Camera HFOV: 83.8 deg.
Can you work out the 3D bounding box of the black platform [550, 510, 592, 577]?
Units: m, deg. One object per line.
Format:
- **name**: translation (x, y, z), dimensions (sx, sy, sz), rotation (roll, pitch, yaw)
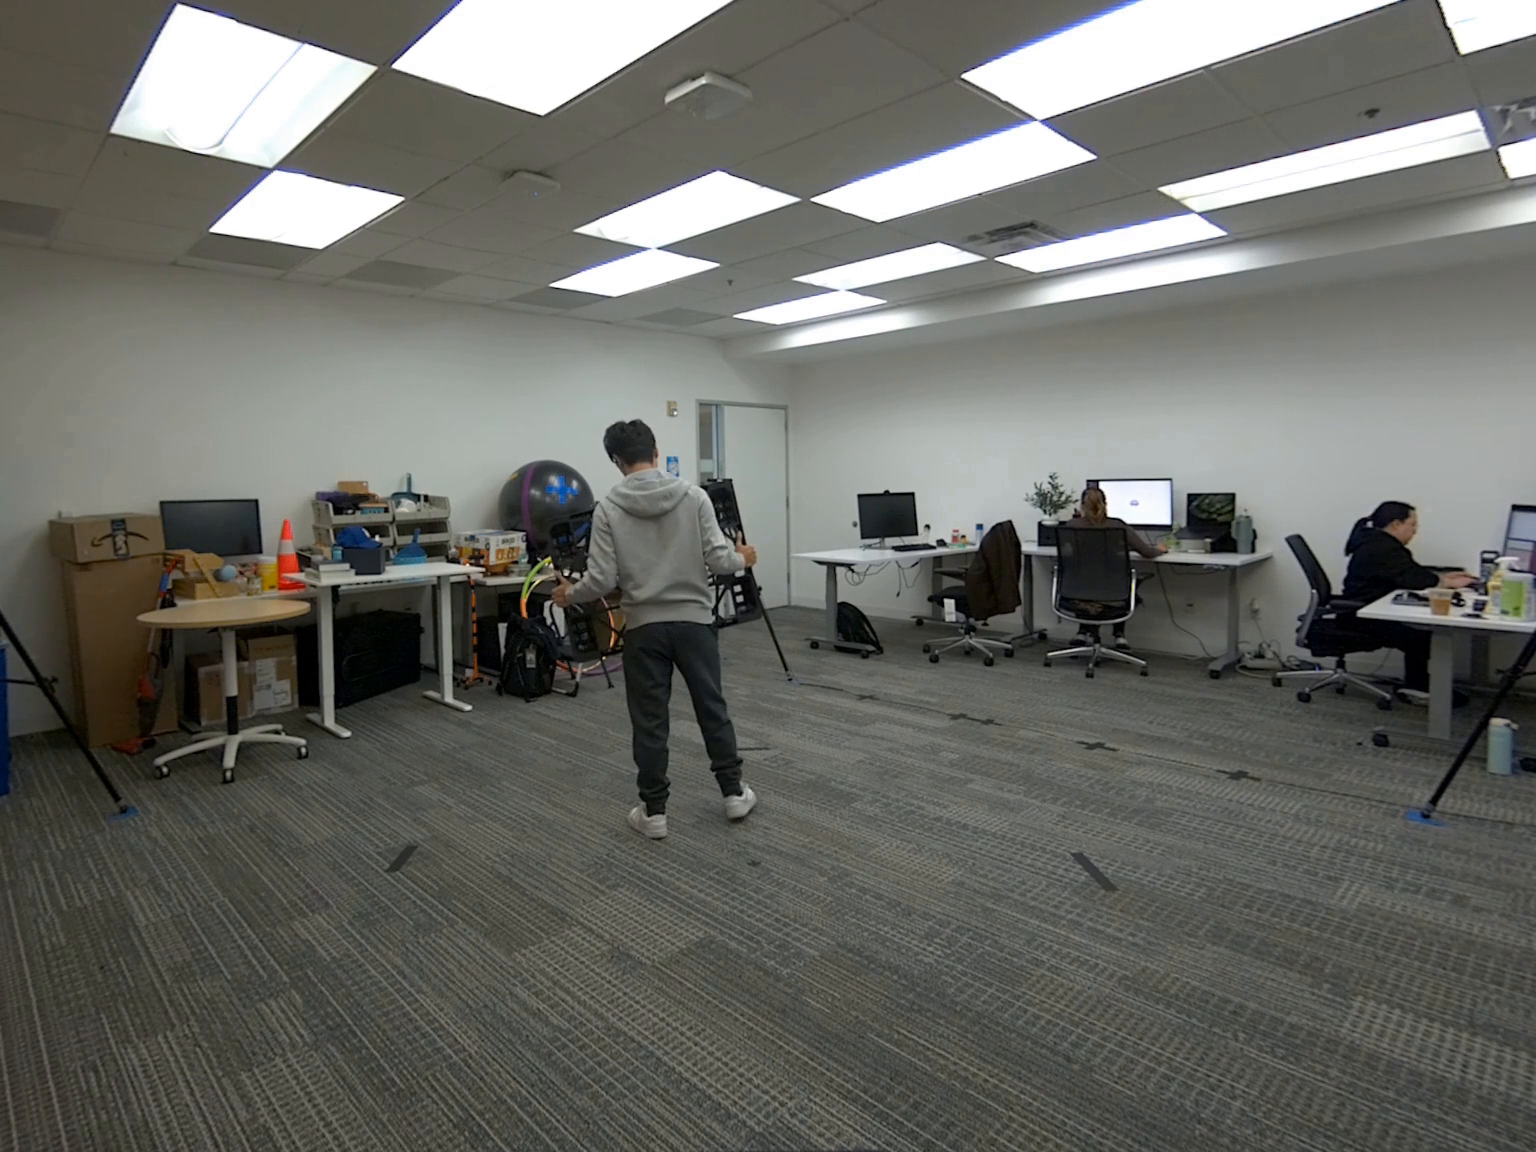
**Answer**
- **black platform**: translation (-0.467, -0.028, 3.587), dimensions (0.800, 0.605, 0.144), rotation (-12, 0, -8)
